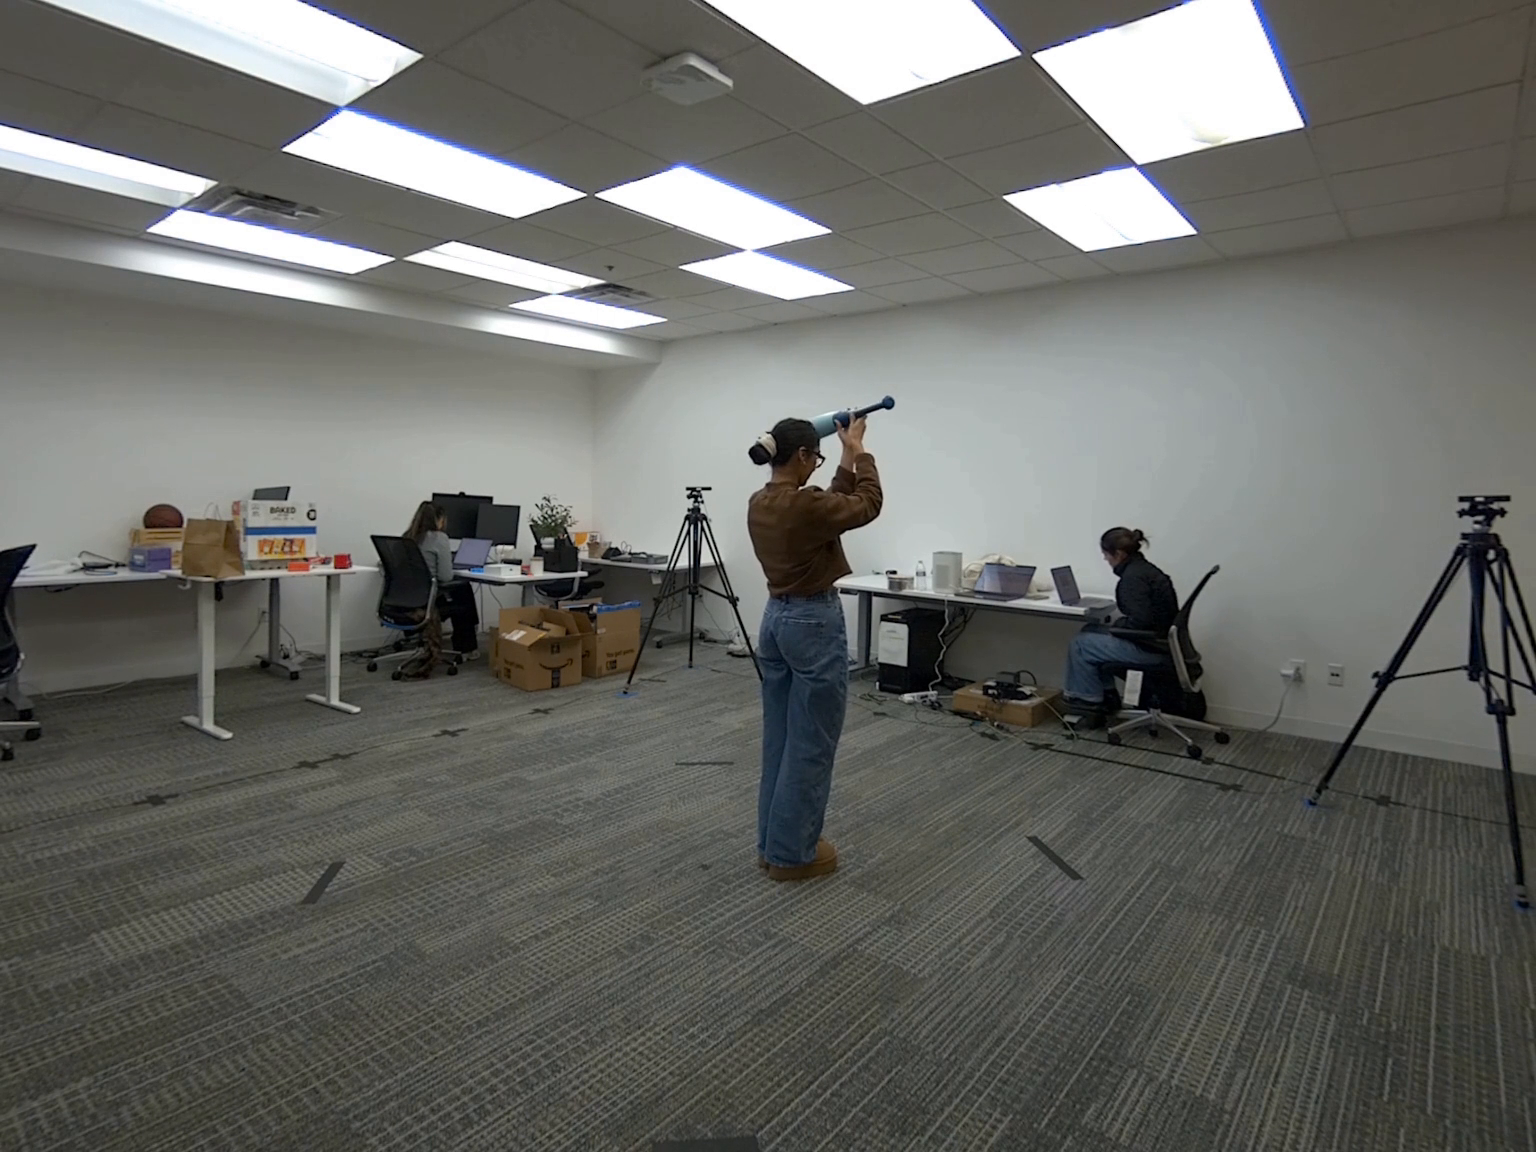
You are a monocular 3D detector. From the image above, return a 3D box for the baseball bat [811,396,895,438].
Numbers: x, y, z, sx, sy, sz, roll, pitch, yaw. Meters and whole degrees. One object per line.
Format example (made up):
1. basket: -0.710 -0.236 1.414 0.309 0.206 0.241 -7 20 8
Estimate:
1. baseball bat: 0.274 -0.607 3.244 0.086 0.089 0.555 -2 -4 -32
